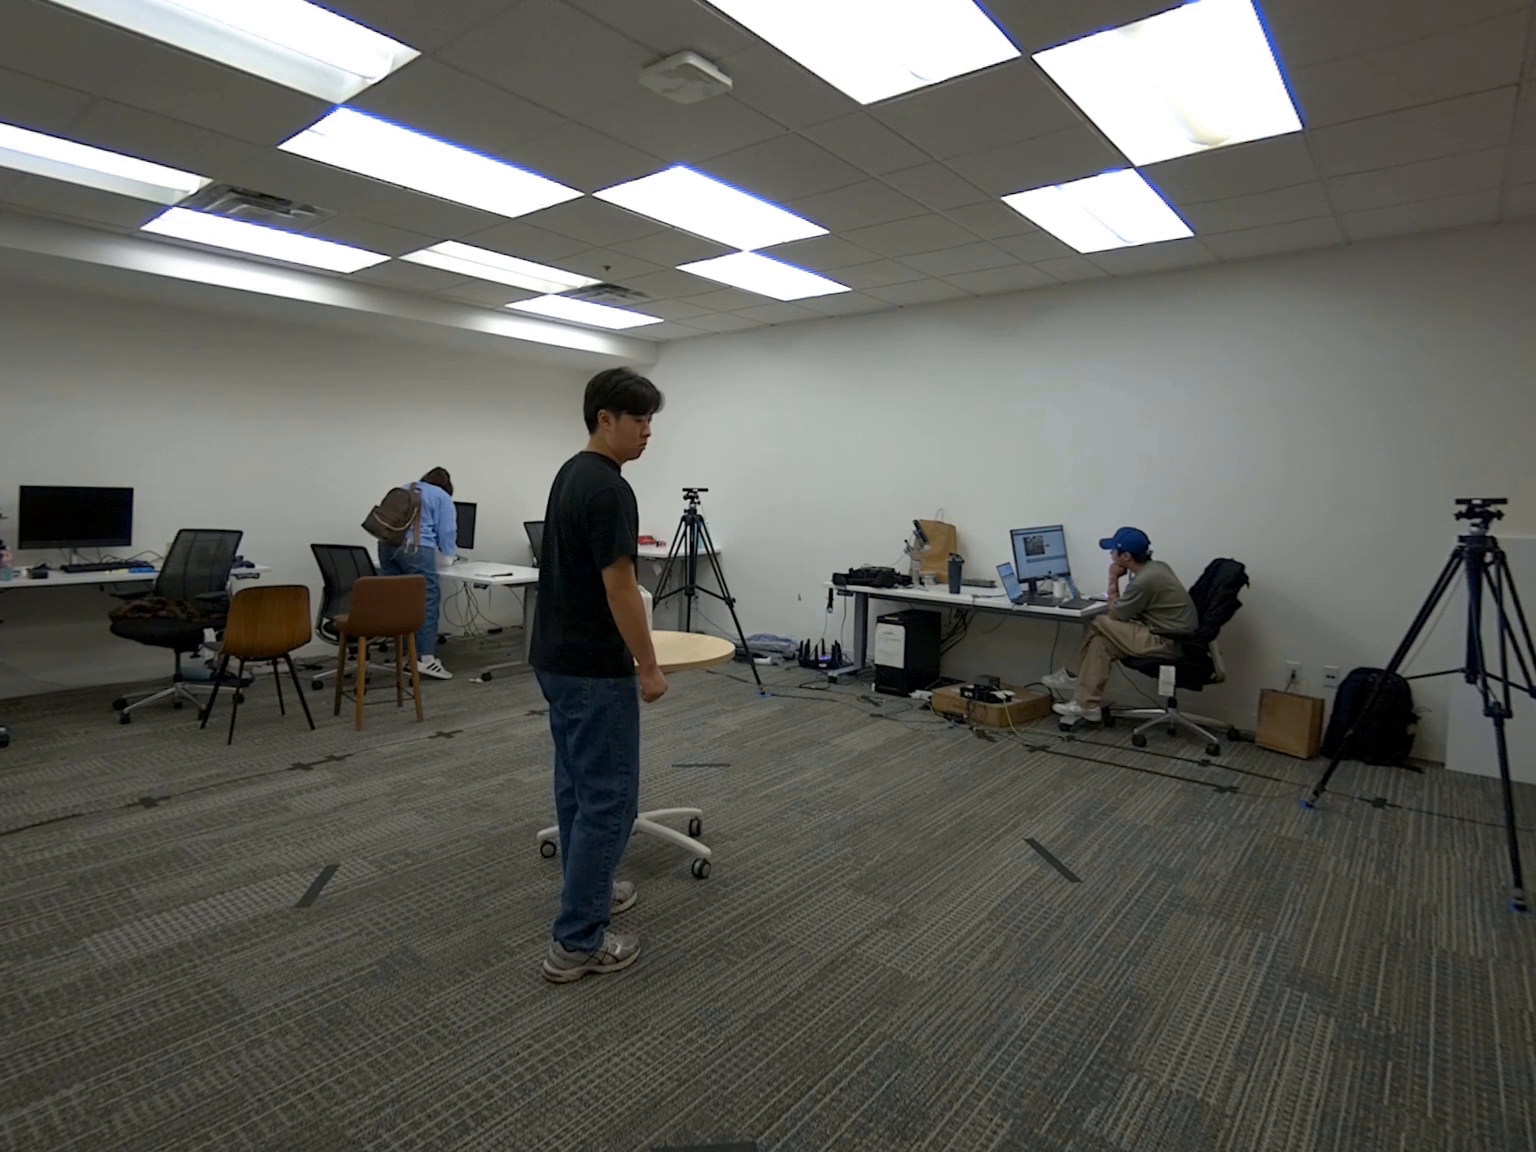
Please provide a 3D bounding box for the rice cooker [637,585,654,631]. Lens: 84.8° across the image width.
[{"bbox_3d":[-0.556,0.139,3.234,0.225,0.232,0.214,2,4,18],"label":"rice cooker"}]
